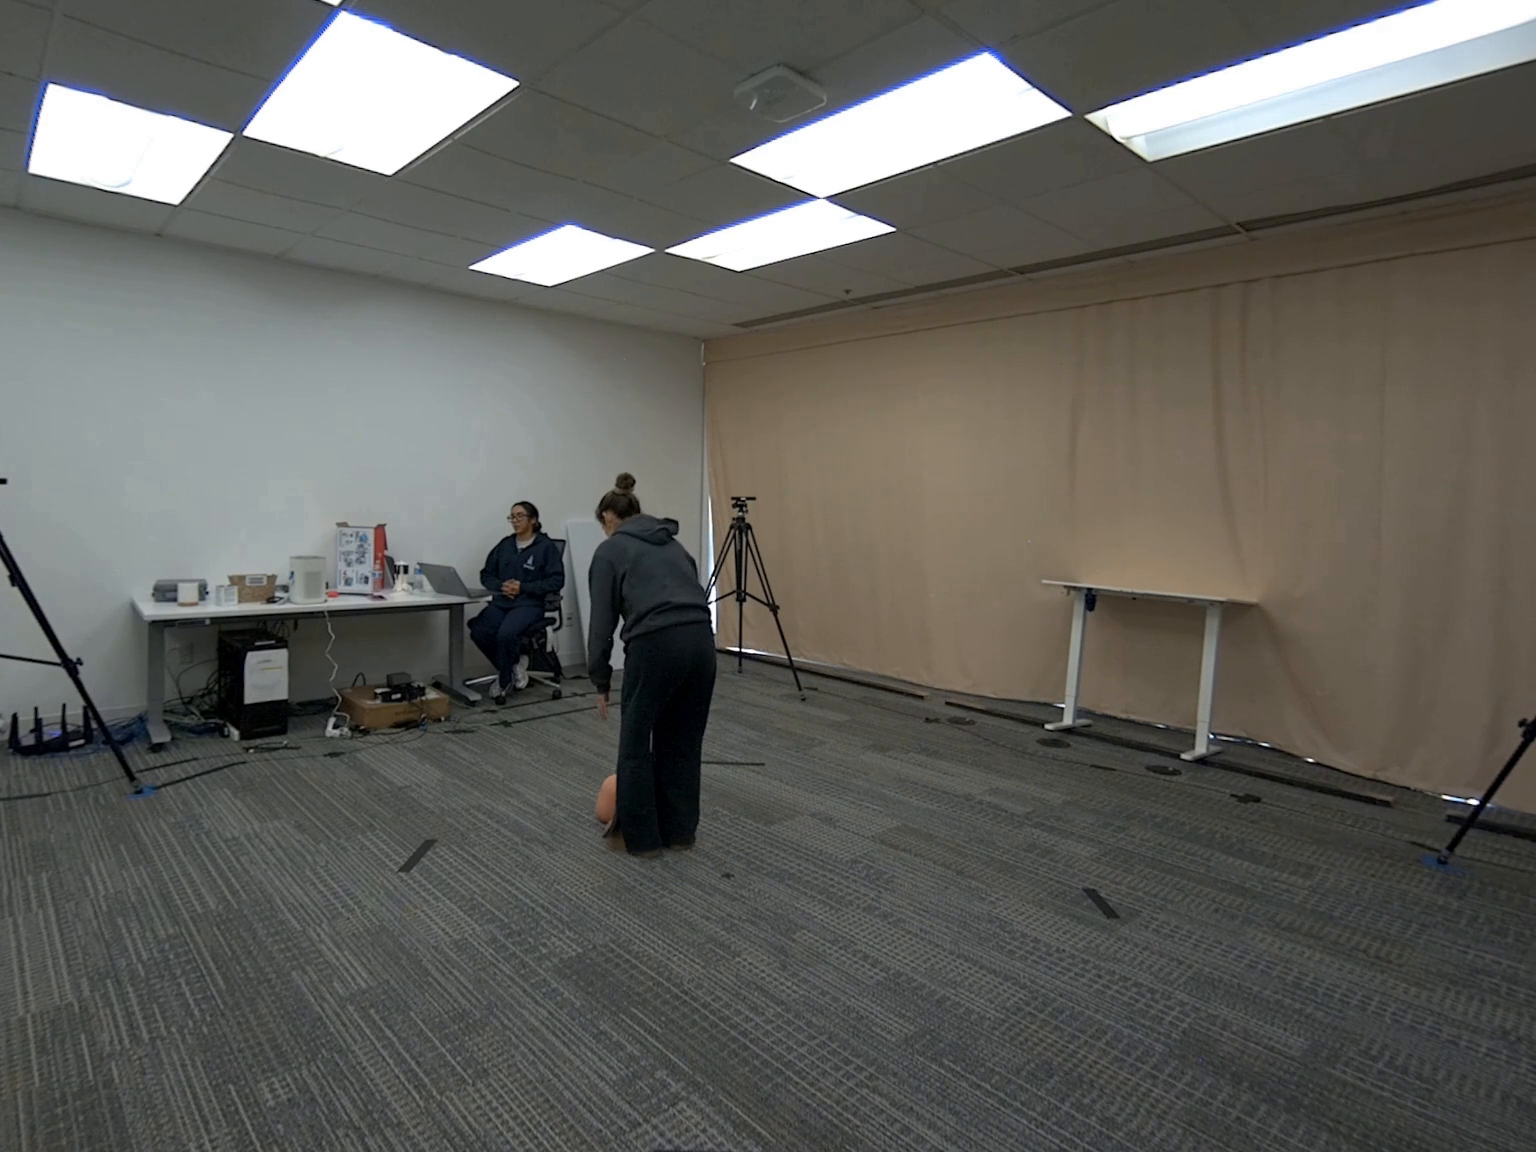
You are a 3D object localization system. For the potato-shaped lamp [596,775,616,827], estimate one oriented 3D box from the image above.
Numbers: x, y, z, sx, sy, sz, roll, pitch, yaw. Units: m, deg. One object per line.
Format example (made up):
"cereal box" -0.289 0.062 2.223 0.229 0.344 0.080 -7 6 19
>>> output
"potato-shaped lamp" -0.666 0.950 3.617 0.161 0.197 0.176 -1 6 -36
